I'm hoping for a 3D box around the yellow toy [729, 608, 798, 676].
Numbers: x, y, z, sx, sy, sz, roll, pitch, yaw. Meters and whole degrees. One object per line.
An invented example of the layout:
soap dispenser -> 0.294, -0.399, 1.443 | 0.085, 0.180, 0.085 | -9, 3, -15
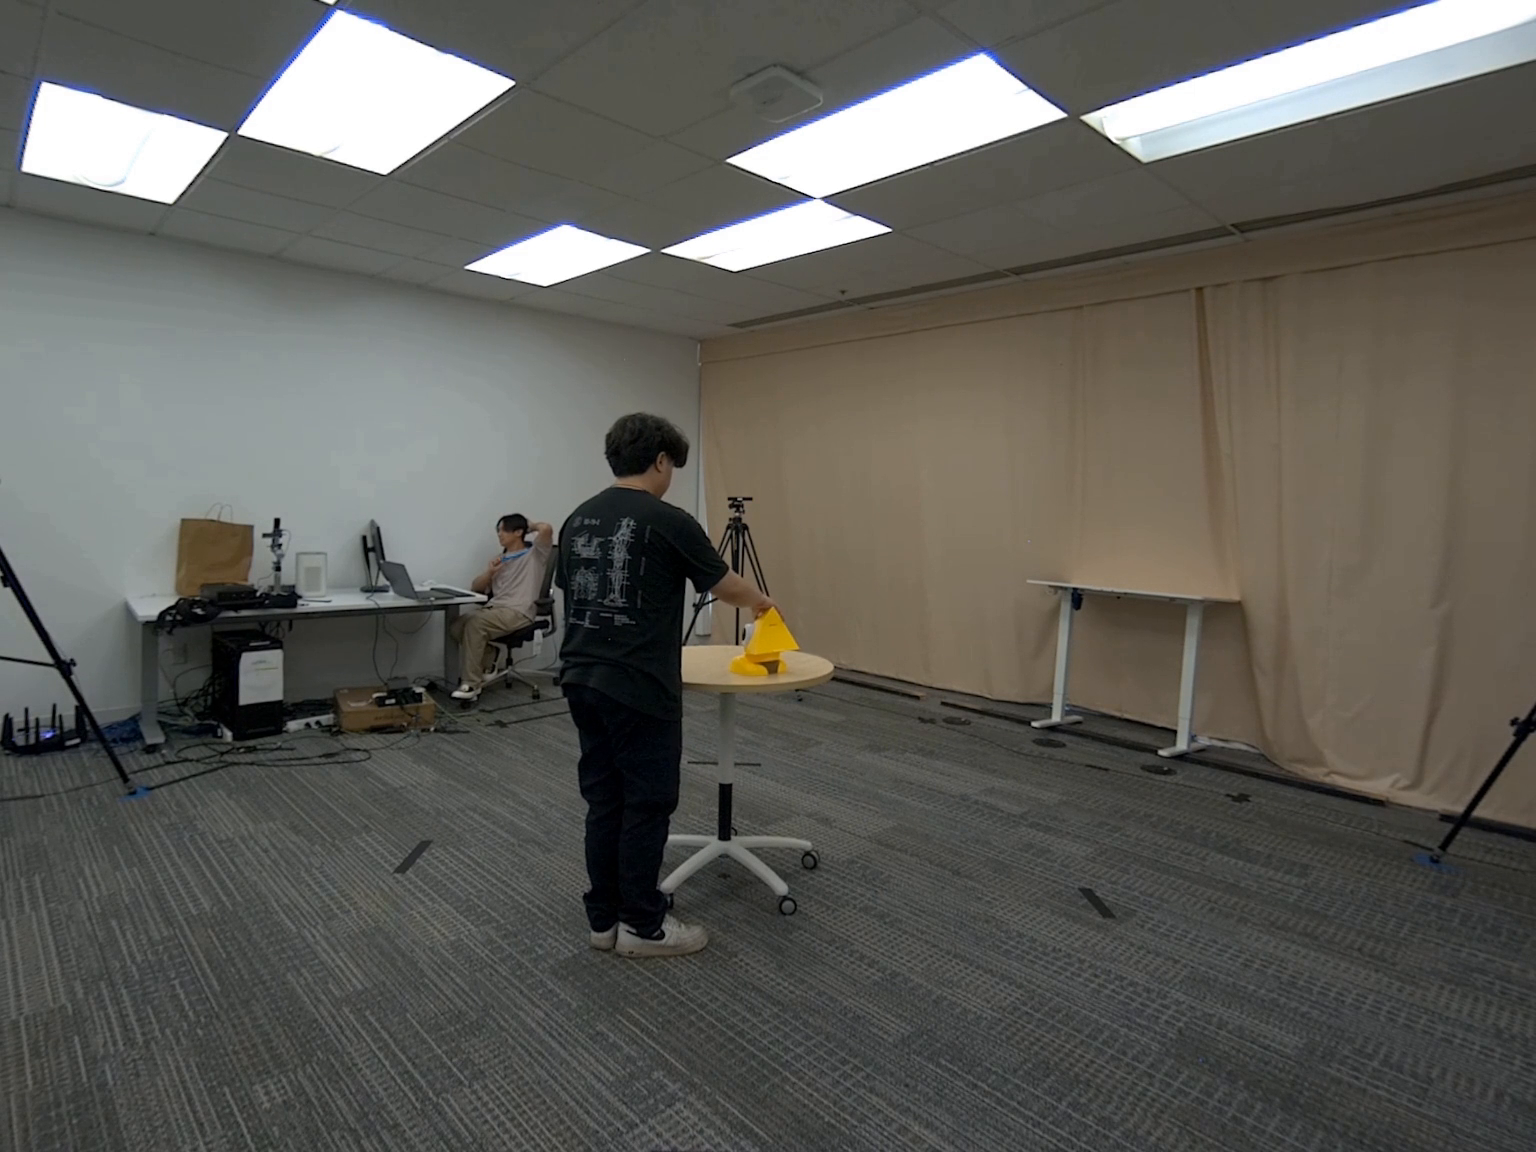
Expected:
yellow toy -> -0.035, 0.218, 2.927 | 0.200, 0.230, 0.198 | -2, 4, -41
